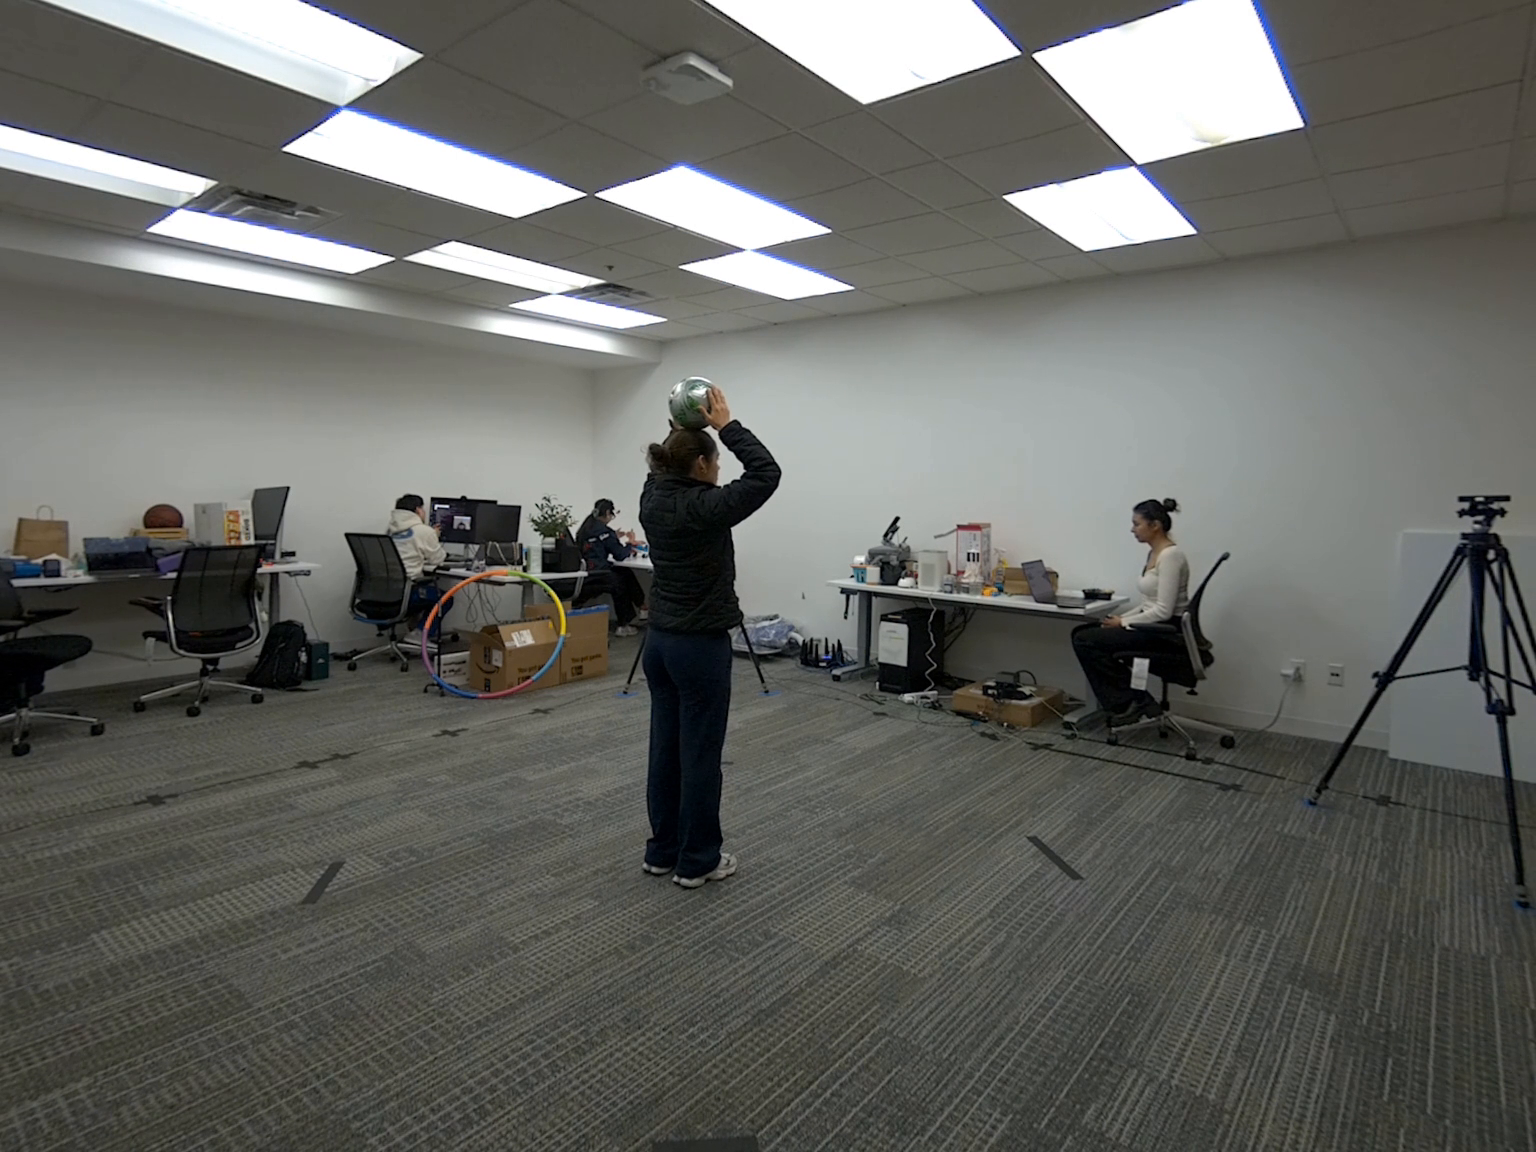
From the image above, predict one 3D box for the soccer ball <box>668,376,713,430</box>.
[{"bbox_3d":[-0.270,-0.613,3.035,0.187,0.187,0.188,1,4,-2],"label":"soccer ball"}]
